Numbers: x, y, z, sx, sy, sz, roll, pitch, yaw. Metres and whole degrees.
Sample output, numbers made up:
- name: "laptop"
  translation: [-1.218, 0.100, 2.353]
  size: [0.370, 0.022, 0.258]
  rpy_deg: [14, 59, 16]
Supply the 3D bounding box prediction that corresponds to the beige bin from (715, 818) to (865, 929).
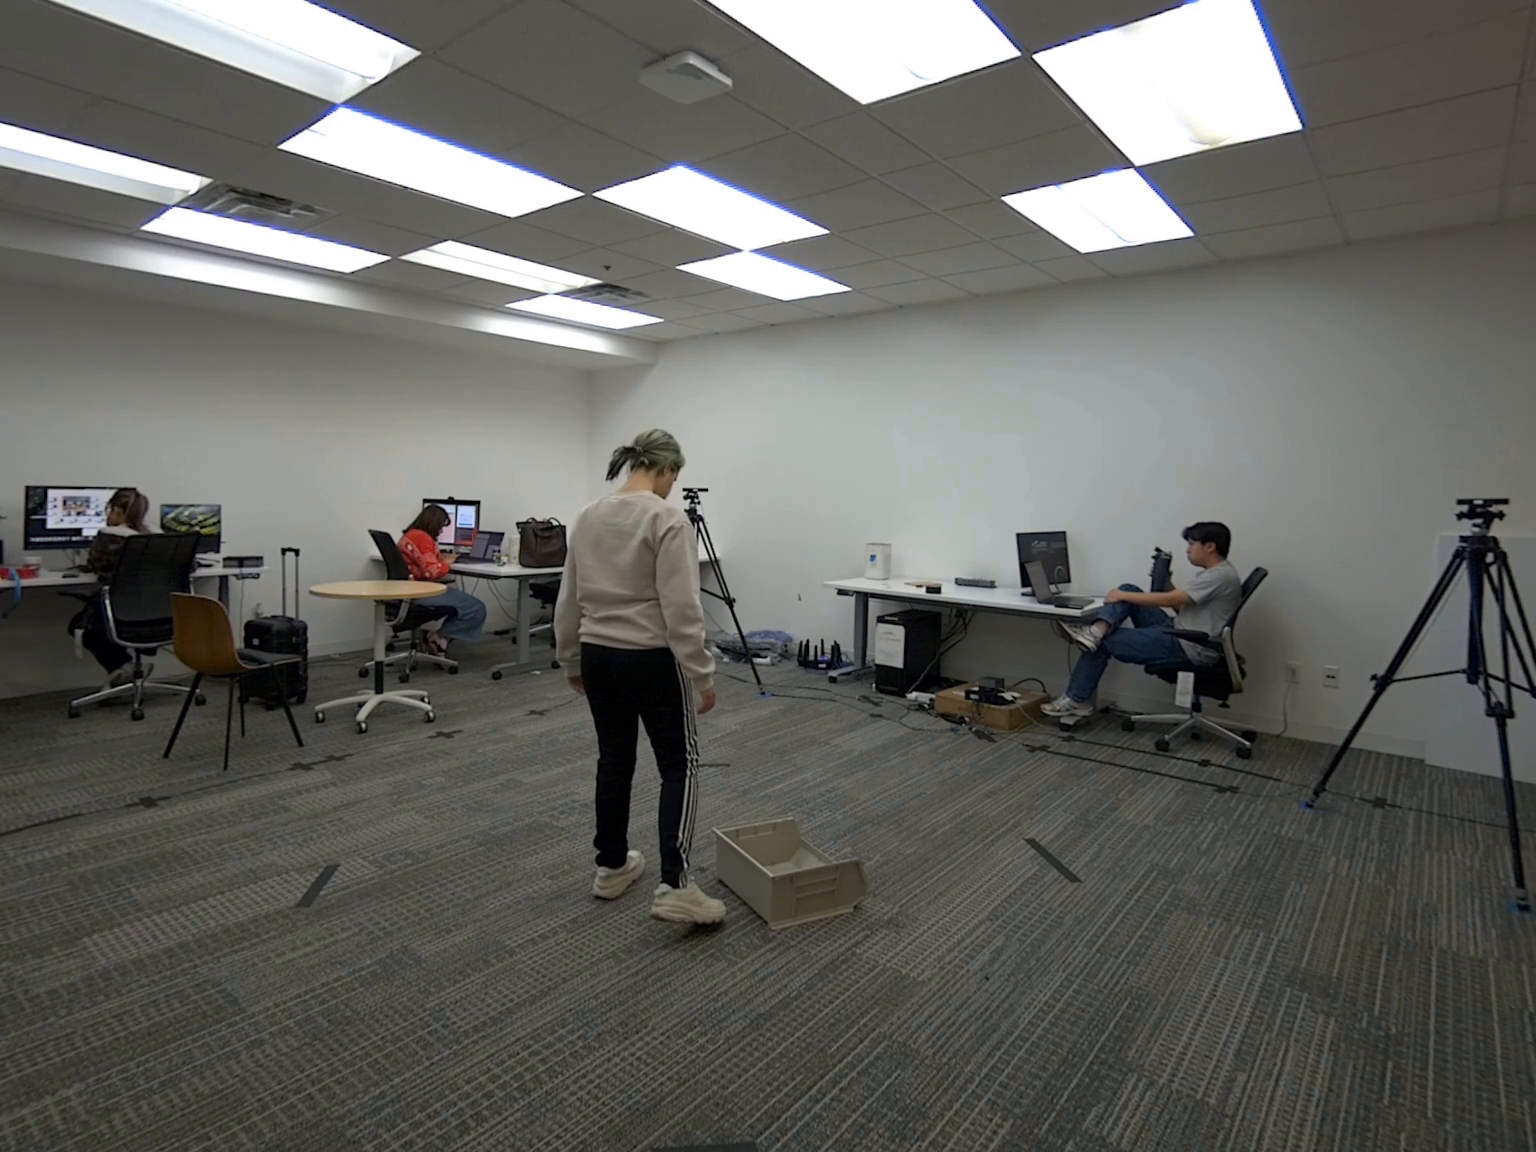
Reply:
- name: "beige bin"
  translation: [0.061, 1.007, 2.936]
  size: [0.368, 0.188, 0.435]
  rpy_deg: [-2, 7, -29]
